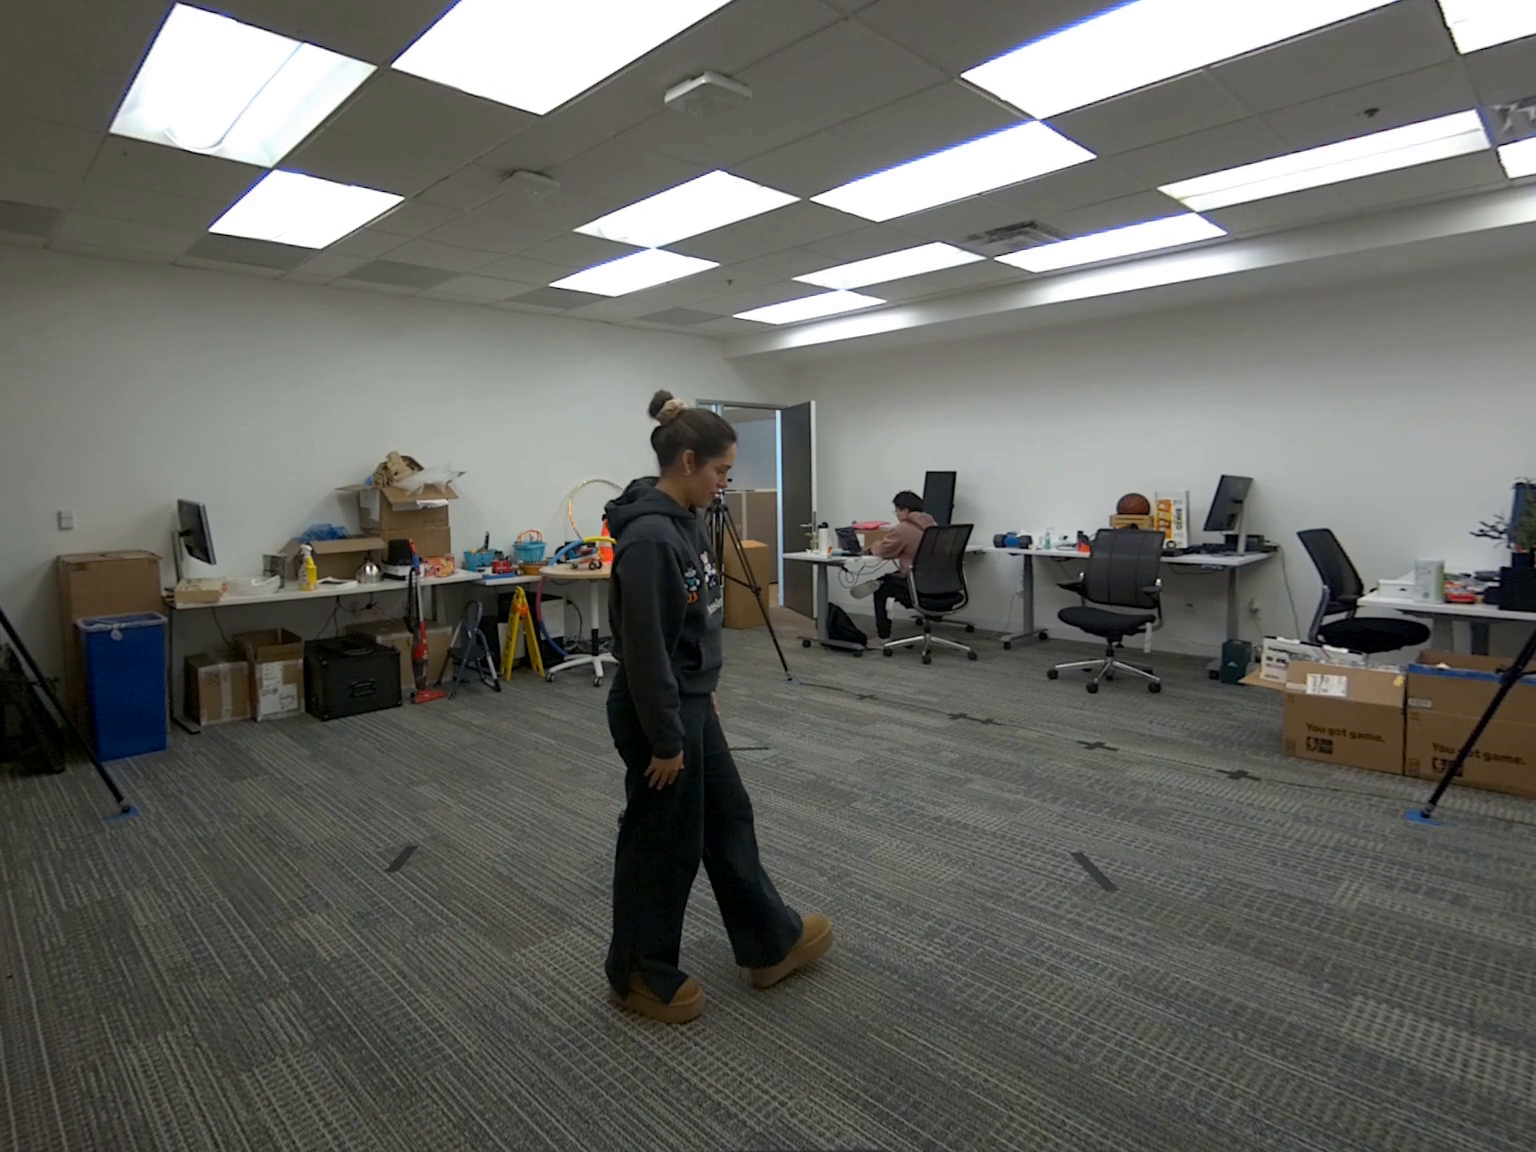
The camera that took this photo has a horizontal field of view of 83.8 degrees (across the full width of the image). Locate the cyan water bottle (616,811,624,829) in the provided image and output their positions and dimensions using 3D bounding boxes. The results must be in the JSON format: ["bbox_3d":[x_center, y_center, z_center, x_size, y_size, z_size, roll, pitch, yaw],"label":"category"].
[{"bbox_3d":[-0.462,0.937,2.886,0.092,0.283,0.093,0,3,-2],"label":"cyan water bottle"}]
